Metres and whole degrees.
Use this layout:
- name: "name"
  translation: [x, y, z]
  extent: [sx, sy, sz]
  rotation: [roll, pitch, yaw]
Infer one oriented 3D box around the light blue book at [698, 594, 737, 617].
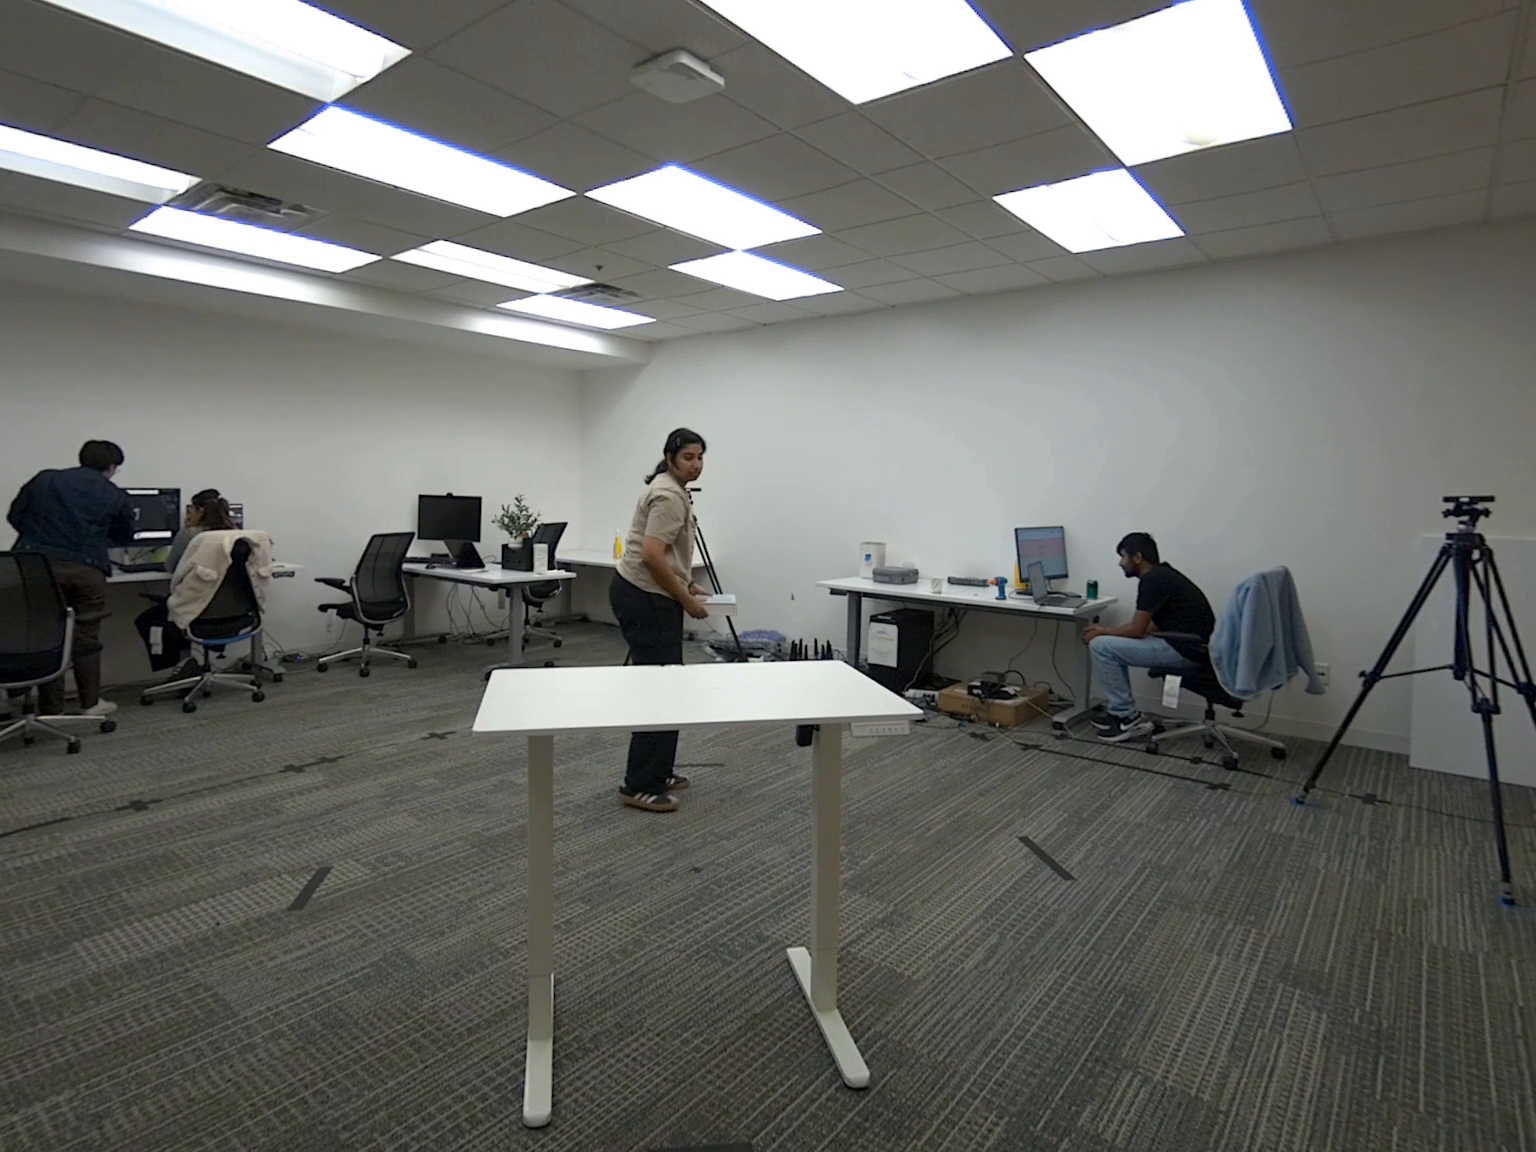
- name: "light blue book"
  translation: [-0.257, 0.133, 3.947]
  extent: [0.191, 0.058, 0.263]
  rotation: [0, 9, -1]
